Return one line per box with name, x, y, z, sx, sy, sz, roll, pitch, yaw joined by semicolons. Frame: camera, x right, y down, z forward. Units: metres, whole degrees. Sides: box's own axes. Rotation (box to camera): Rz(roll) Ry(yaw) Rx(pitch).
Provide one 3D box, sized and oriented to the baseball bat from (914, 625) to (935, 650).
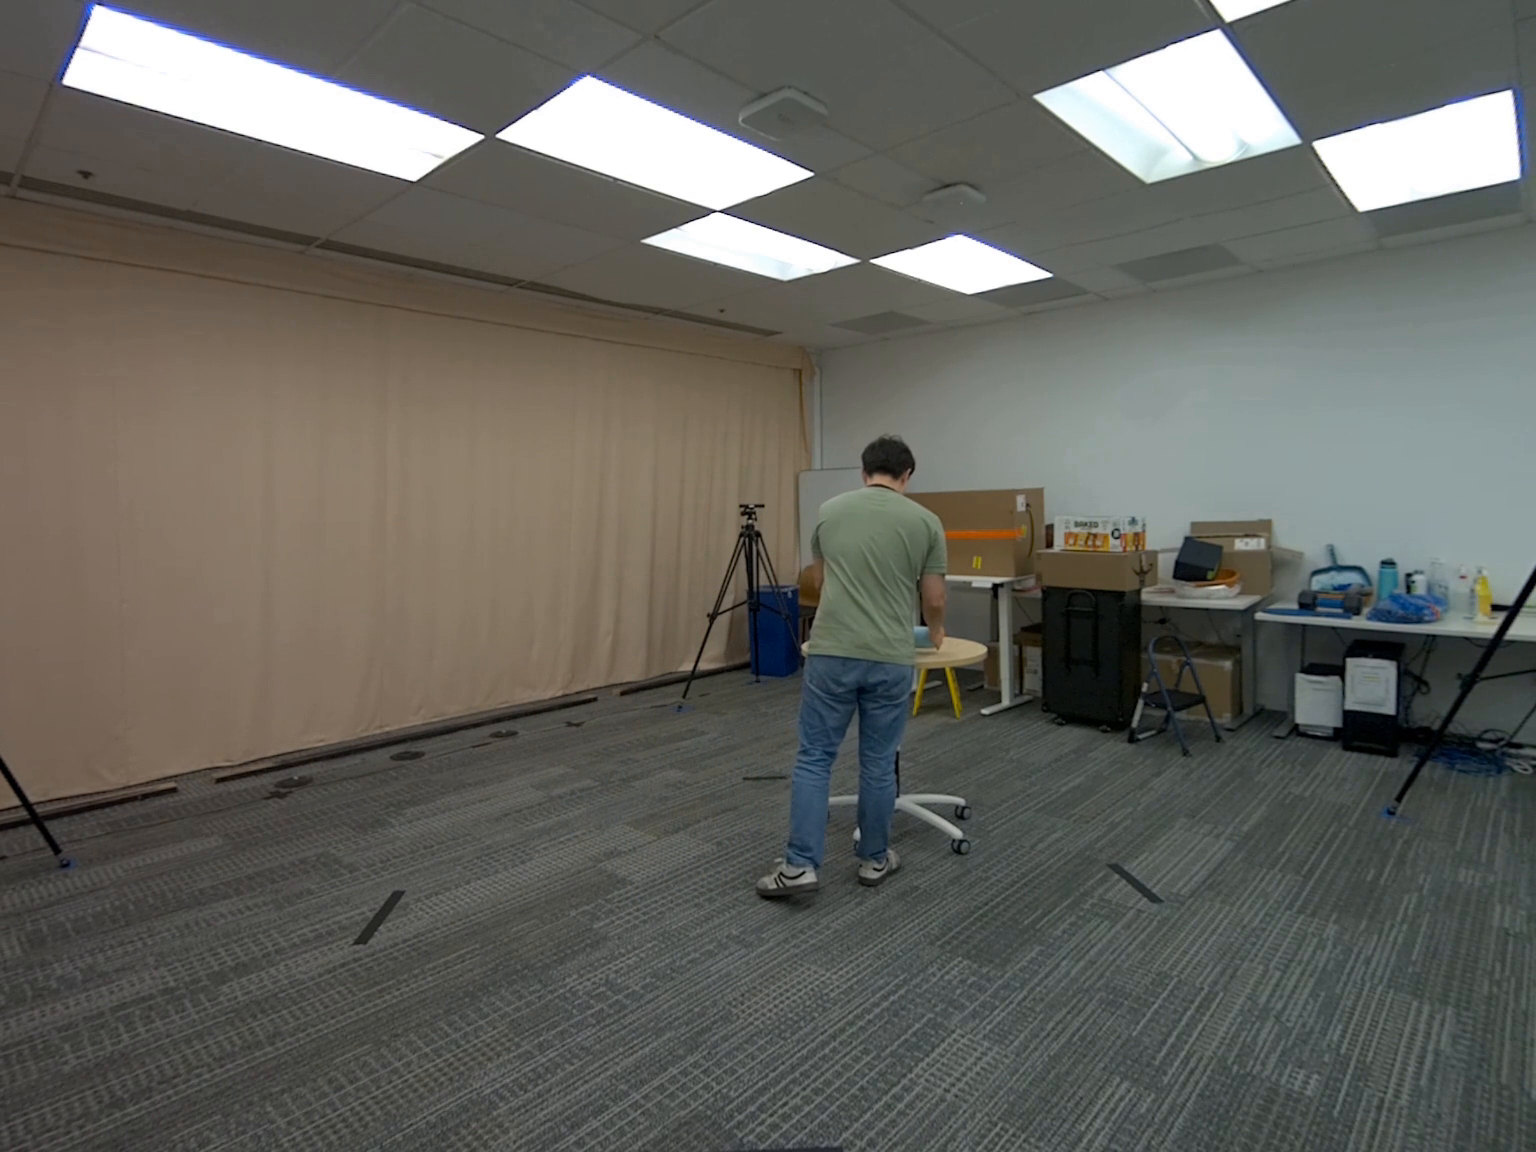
baseball bat;0.459;0.251;3.473;0.557;0.089;0.087;0;4;27
